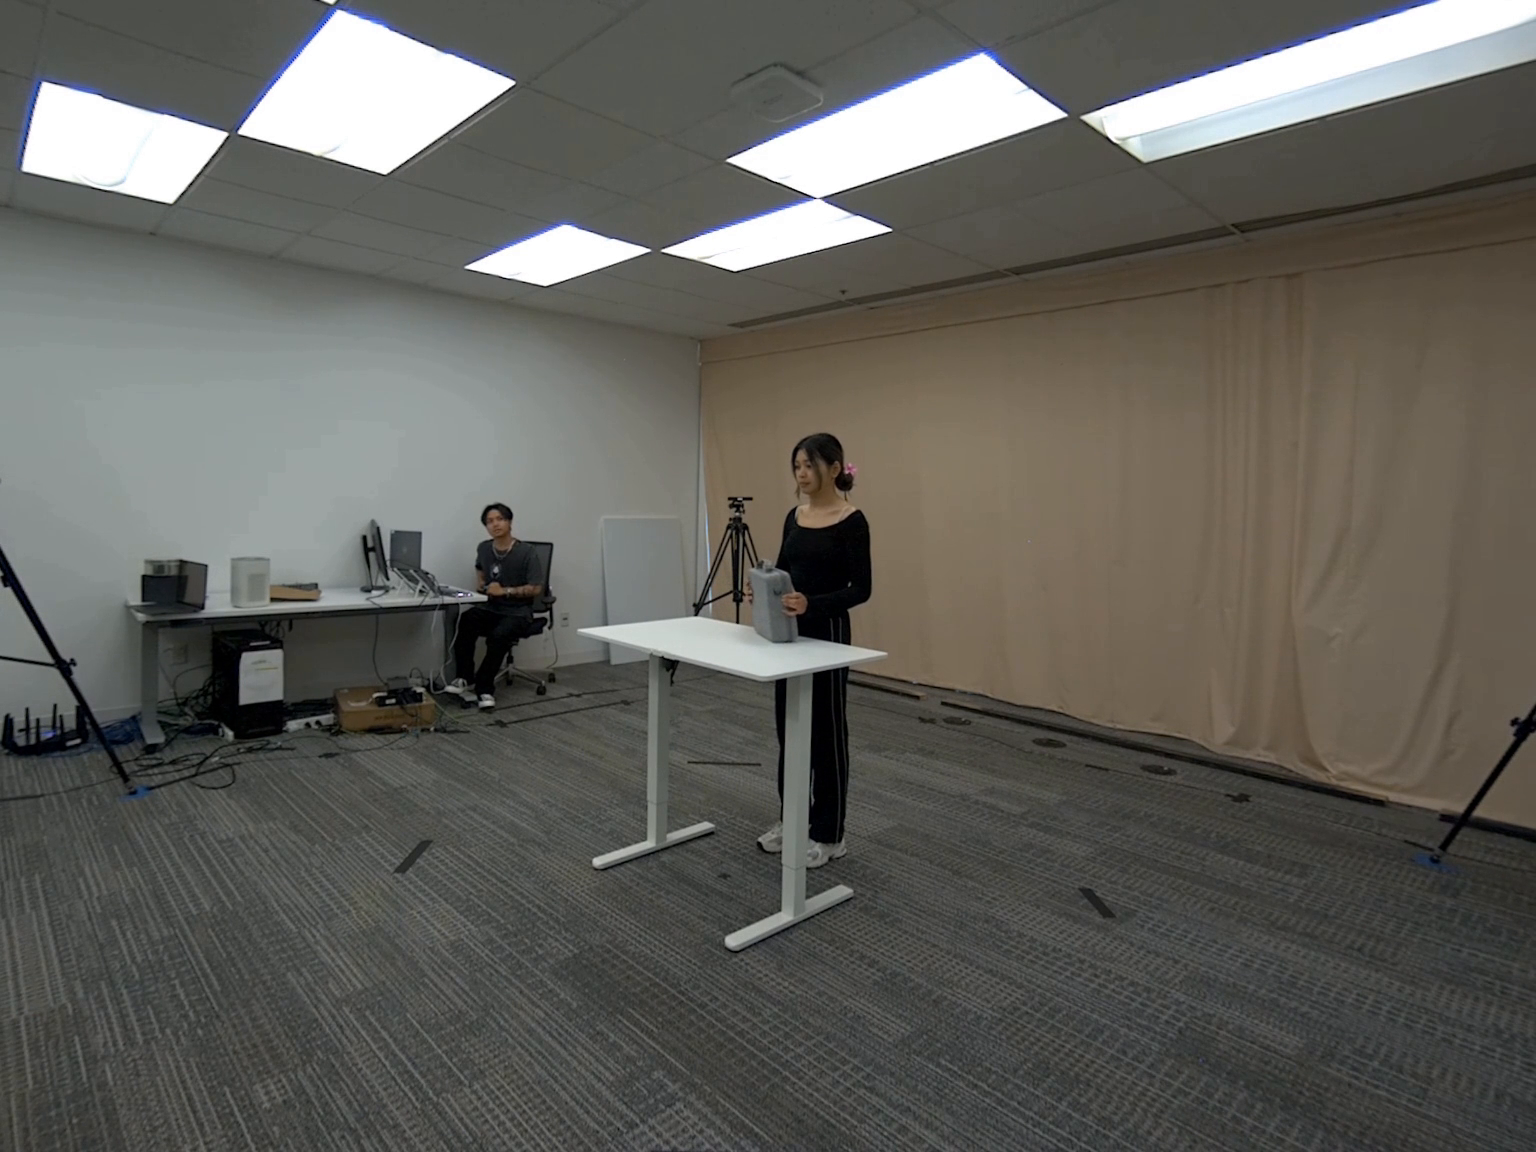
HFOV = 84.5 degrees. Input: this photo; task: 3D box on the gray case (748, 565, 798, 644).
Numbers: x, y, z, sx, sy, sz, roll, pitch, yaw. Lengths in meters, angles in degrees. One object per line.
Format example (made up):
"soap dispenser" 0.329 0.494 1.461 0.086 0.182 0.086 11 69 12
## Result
"gray case" 0.007 0.100 3.085 0.103 0.259 0.260 -6 7 -11
